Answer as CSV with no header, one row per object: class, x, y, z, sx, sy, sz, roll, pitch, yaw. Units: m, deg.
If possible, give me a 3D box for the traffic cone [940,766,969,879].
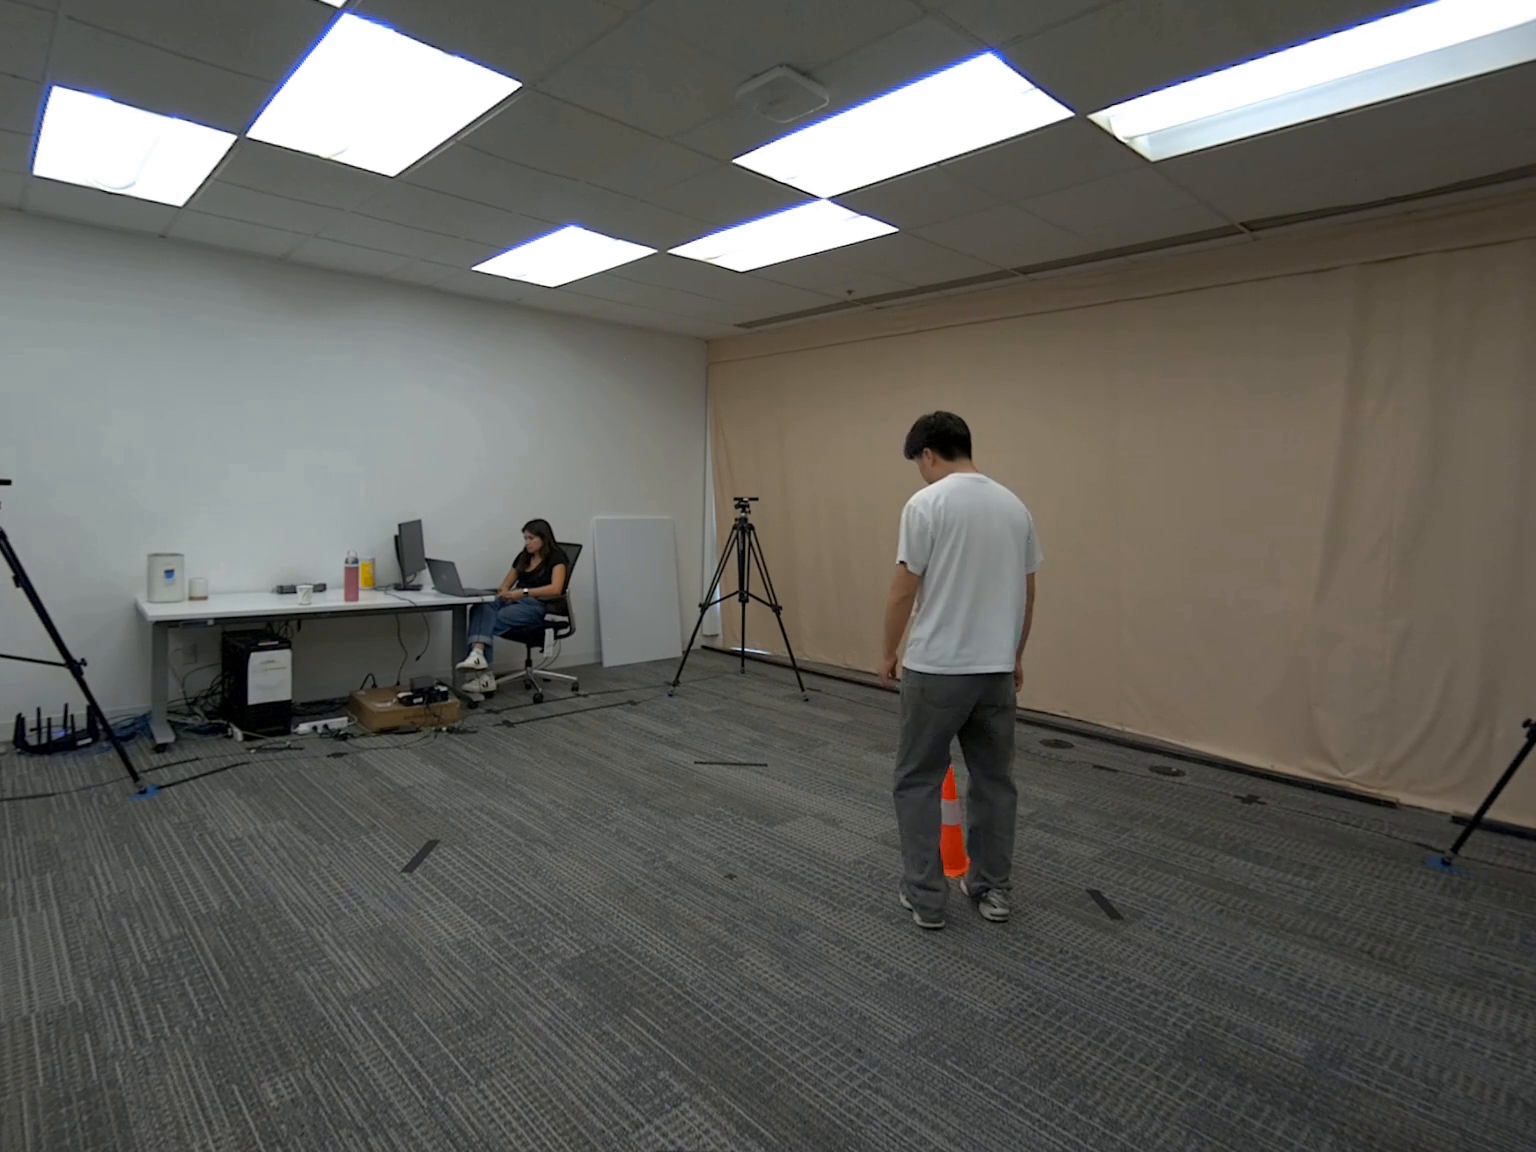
traffic cone,0.696,0.930,3.259,0.200,0.383,0.208,0,4,-37
